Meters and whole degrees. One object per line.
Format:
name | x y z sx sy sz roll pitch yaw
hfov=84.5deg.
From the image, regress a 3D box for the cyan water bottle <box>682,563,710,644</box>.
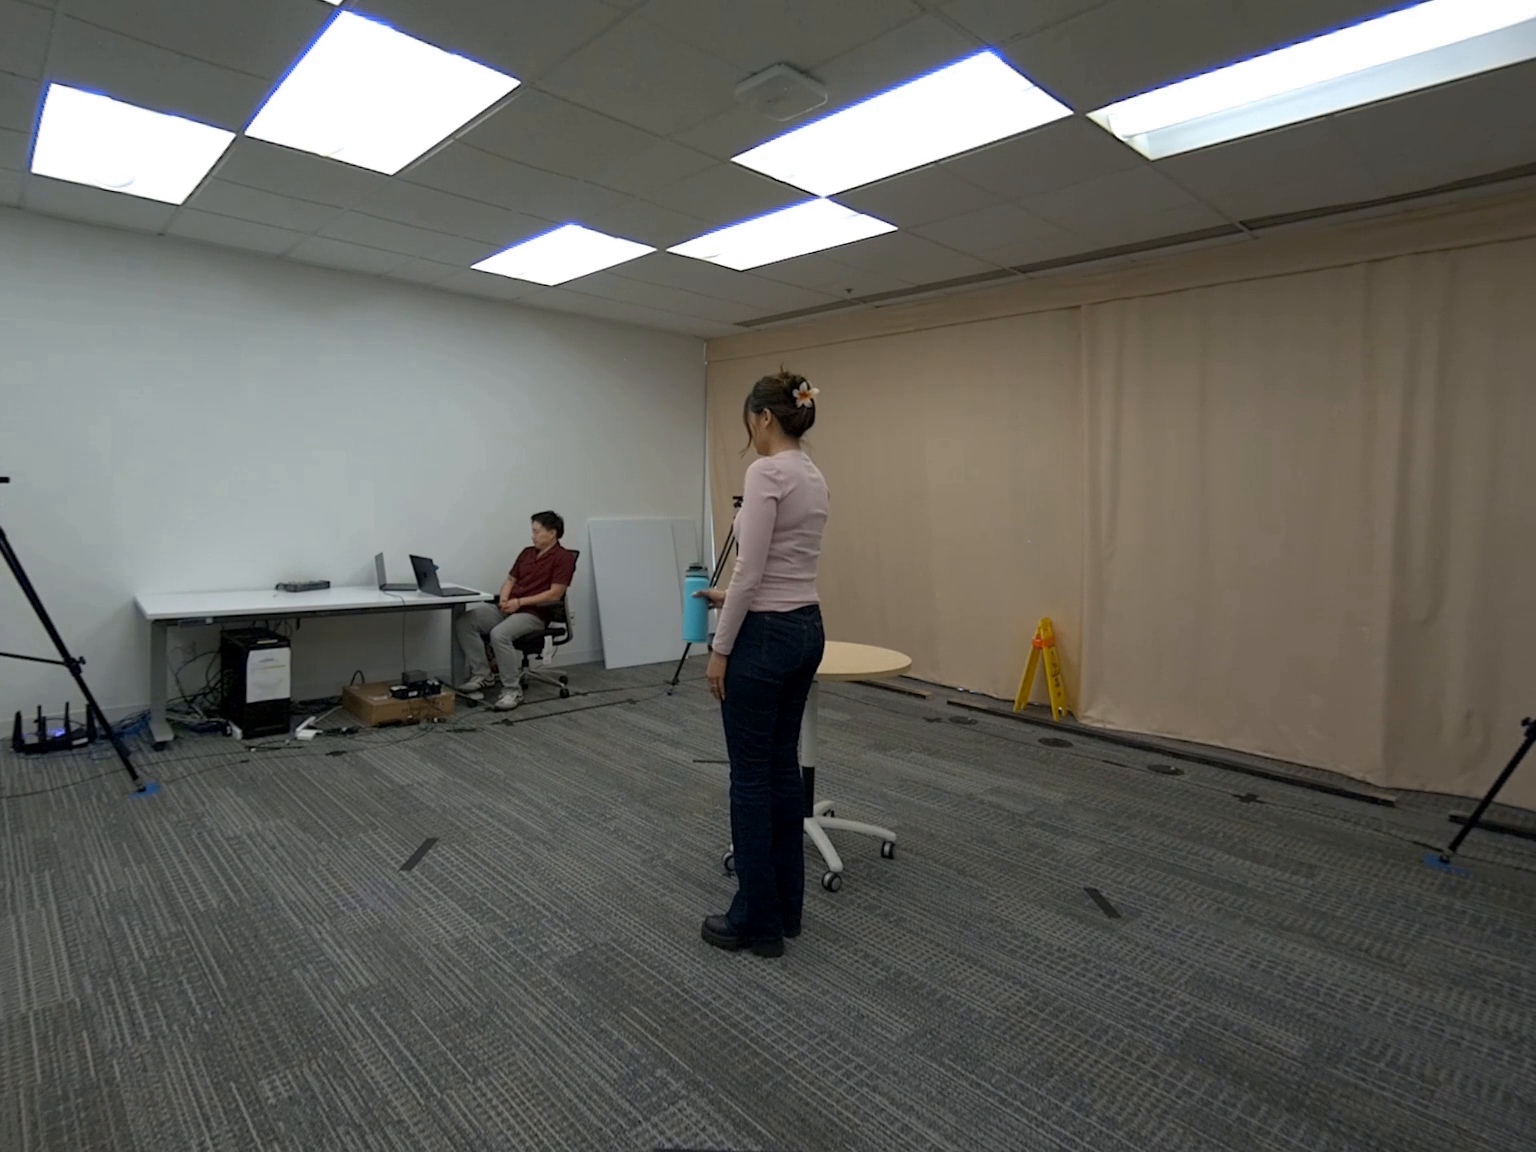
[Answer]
cyan water bottle | -0.254 0.097 2.979 0.092 0.285 0.092 3 -8 -1
